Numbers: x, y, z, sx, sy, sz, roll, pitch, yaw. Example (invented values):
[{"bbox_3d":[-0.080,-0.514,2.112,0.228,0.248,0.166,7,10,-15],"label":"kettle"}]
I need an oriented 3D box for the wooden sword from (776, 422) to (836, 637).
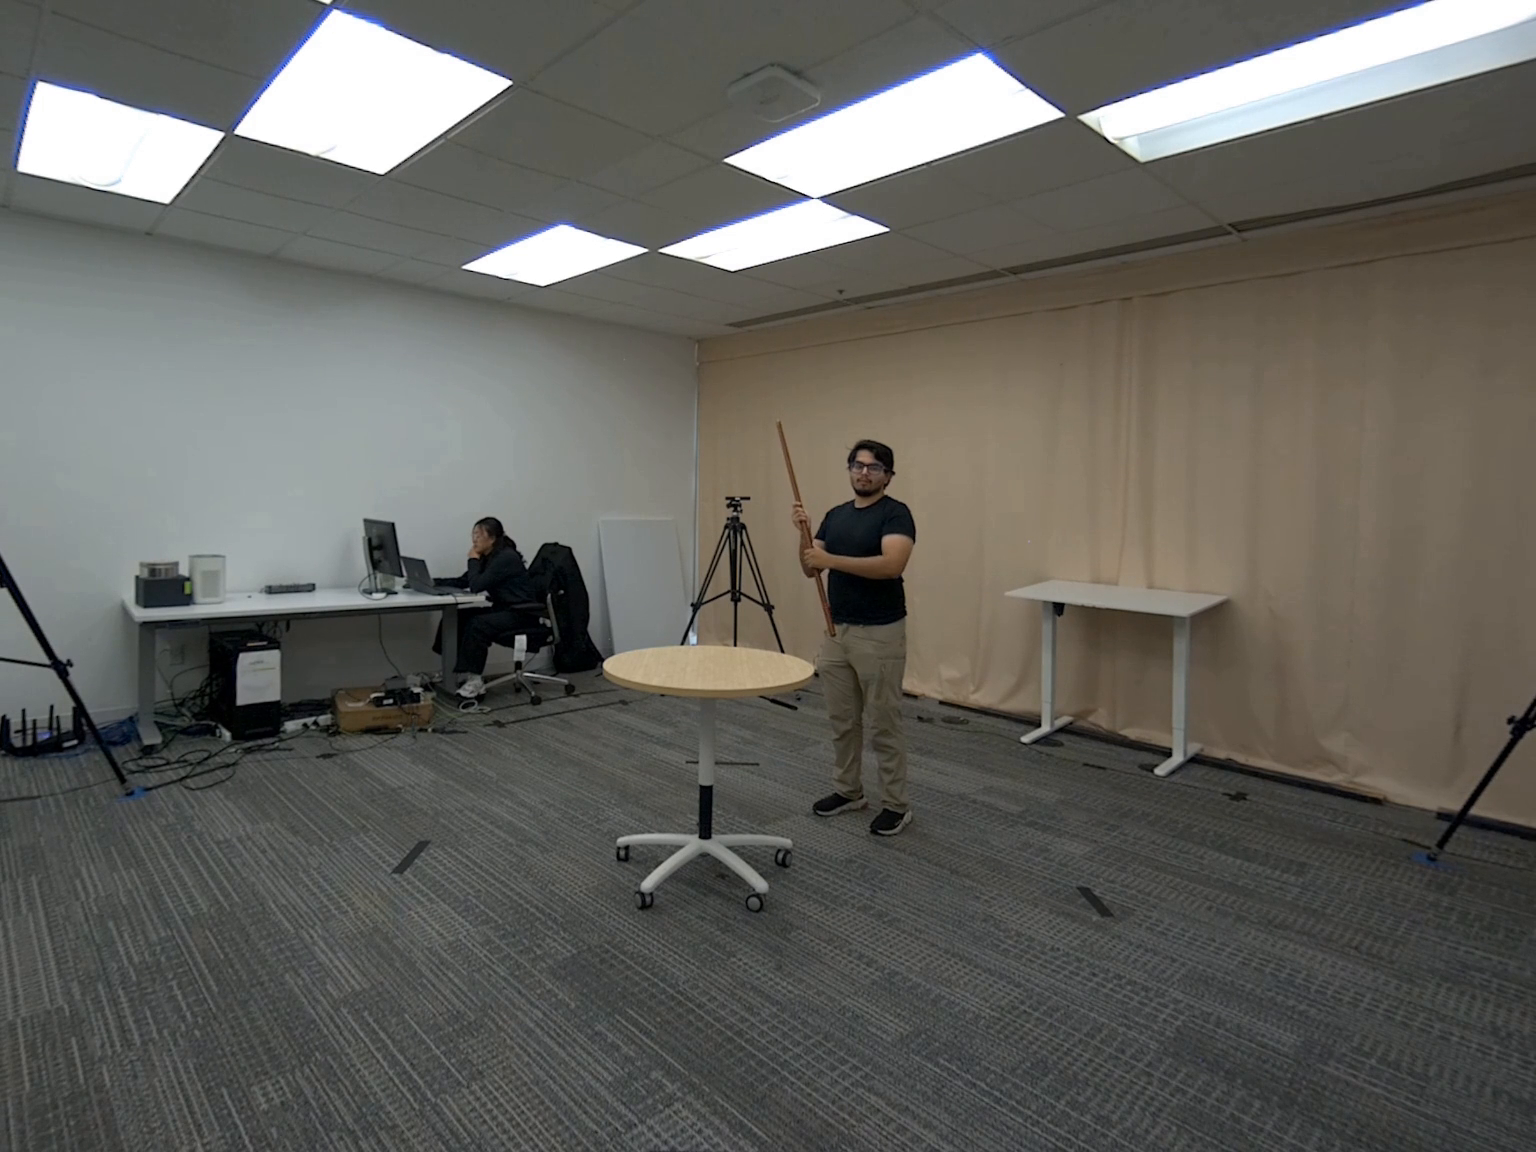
[{"bbox_3d":[0.151,-0.217,3.578,0.051,1.044,0.023,-16,-22,9],"label":"wooden sword"}]
